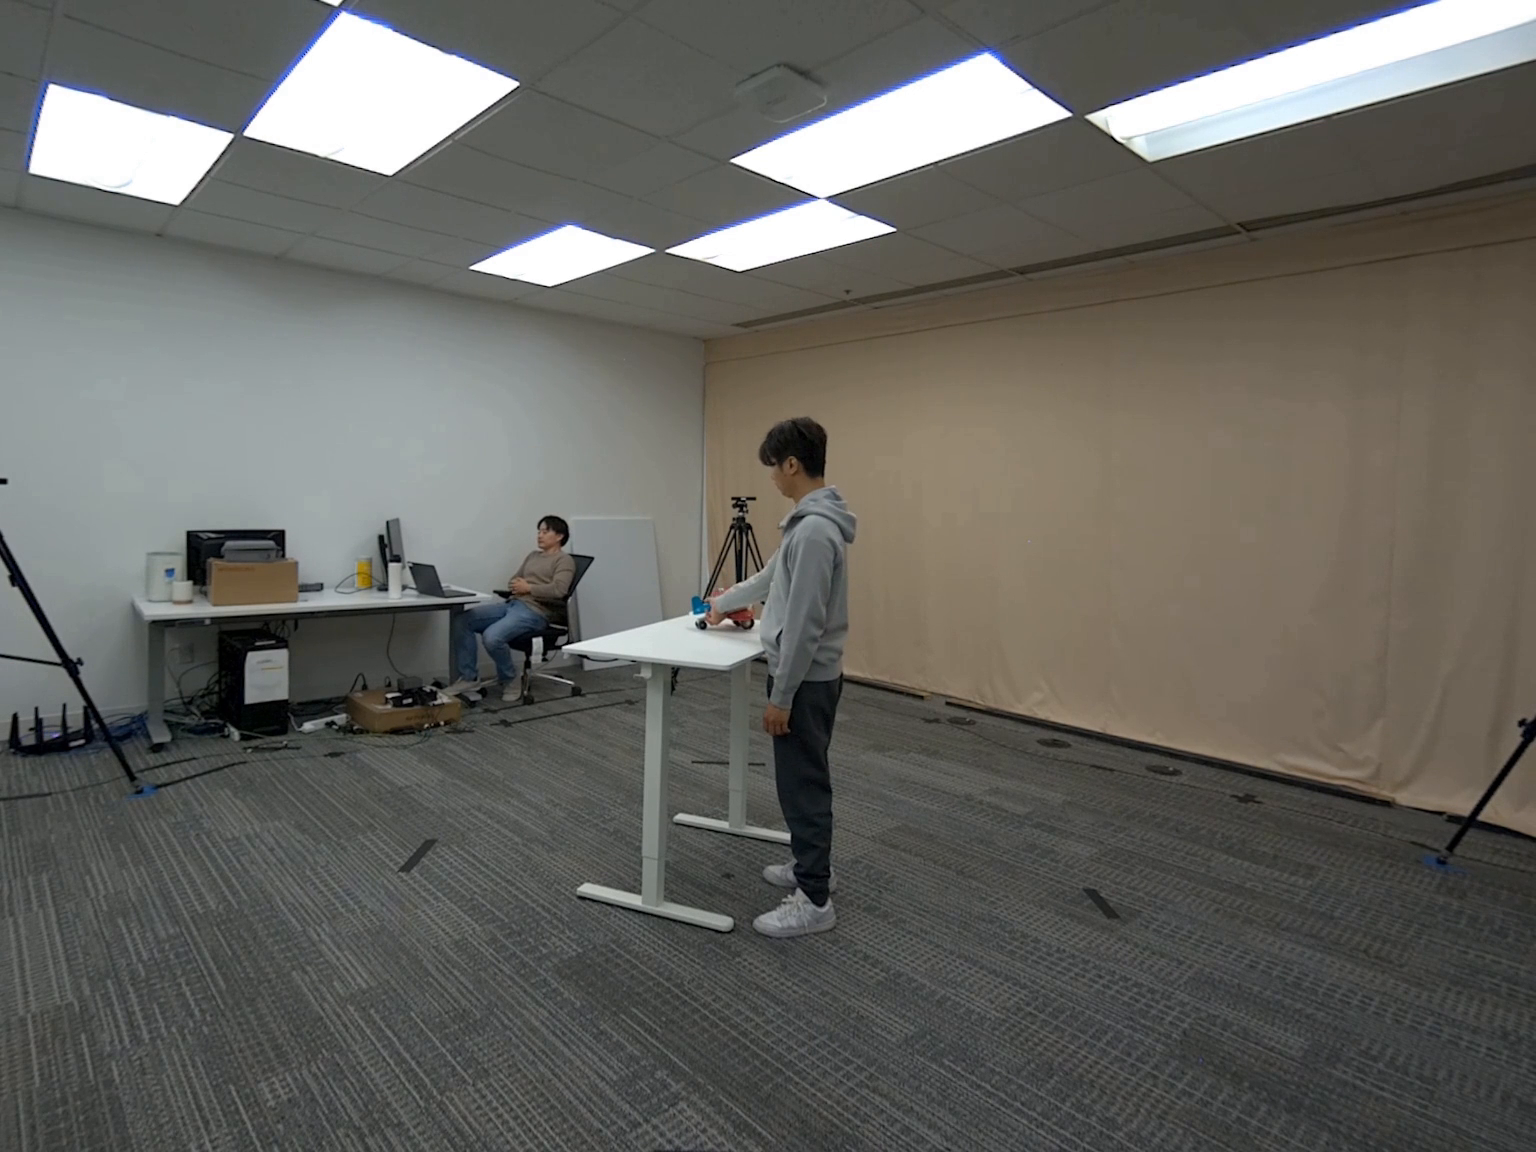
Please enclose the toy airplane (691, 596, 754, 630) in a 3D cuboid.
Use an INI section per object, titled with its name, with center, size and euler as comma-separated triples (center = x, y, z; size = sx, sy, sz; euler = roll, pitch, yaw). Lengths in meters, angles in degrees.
[toy airplane]
center = -0.173, 0.132, 3.298
size = 0.257, 0.156, 0.253
euler = 6, 5, 41
